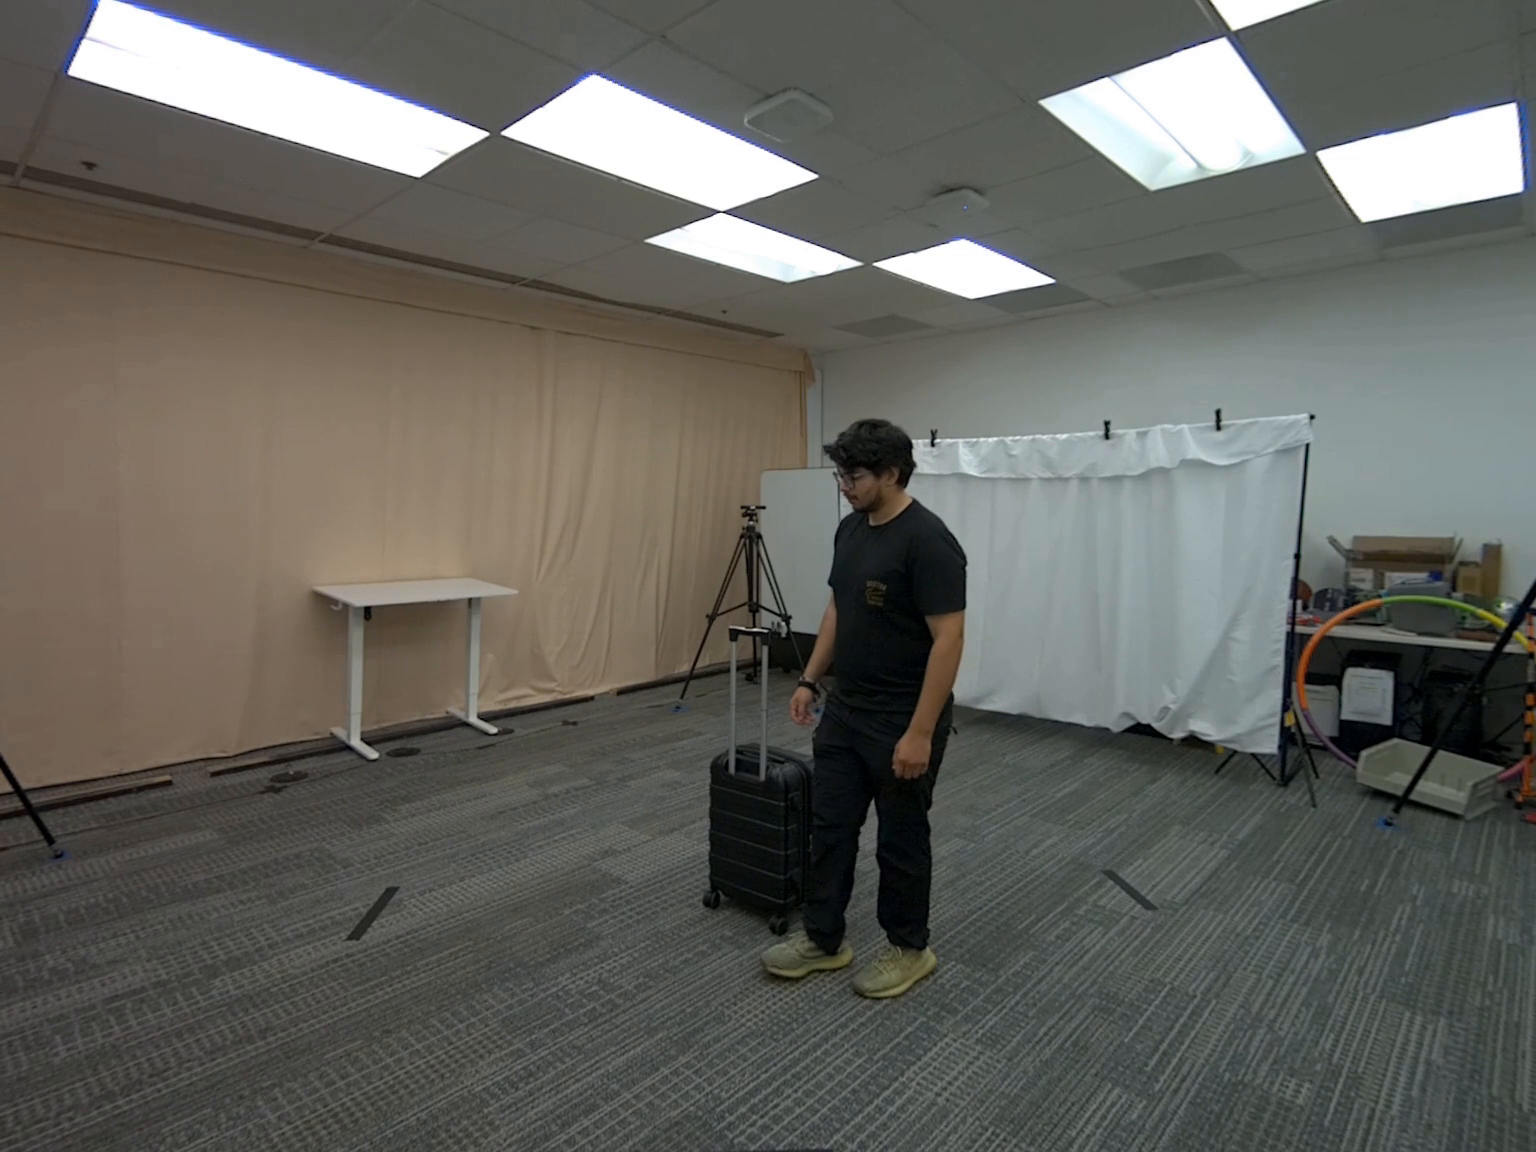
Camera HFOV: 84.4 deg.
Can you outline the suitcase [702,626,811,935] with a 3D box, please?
[{"bbox_3d":[-0.008,0.671,2.915,0.396,0.978,0.249,2,2,37],"label":"suitcase"}]
